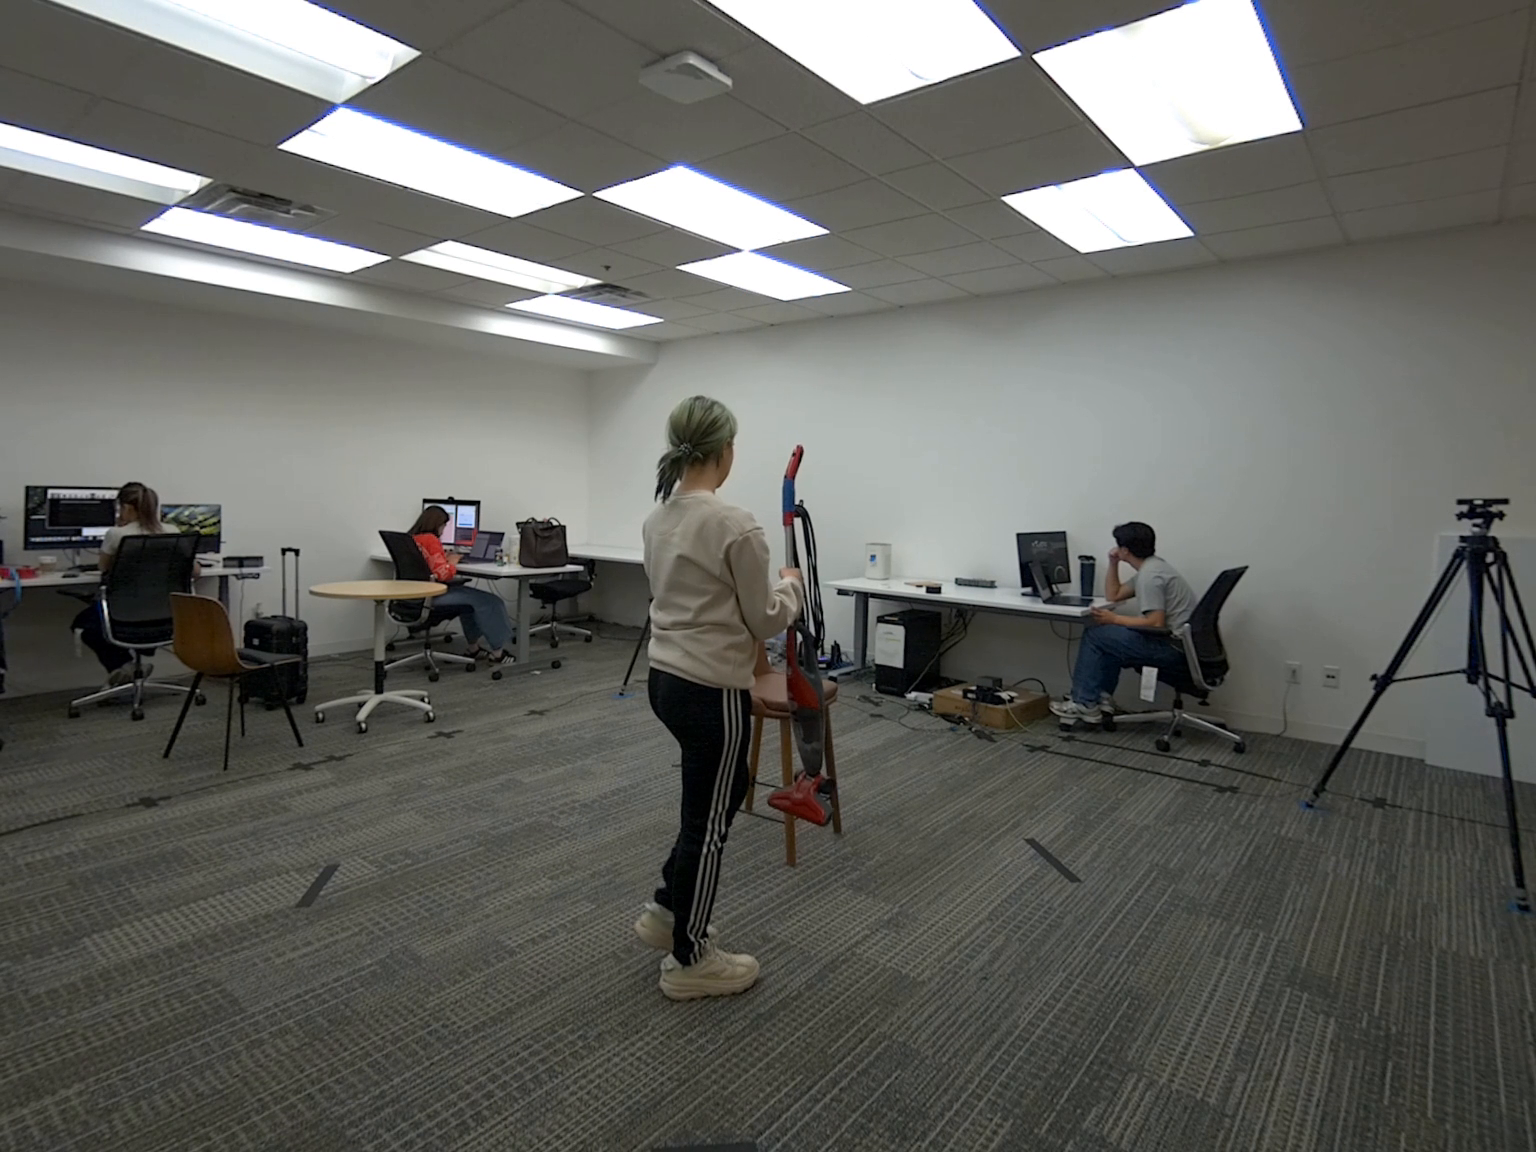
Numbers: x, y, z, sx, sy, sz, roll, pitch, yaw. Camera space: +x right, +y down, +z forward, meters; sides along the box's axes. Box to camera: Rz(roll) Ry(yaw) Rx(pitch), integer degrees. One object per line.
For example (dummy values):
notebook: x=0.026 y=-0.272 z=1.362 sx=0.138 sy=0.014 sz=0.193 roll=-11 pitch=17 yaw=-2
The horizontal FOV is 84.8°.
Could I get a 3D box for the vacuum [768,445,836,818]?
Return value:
vacuum: x=0.104 y=0.138 z=2.563 sx=0.139 sy=1.049 sz=0.260 roll=0 pitch=0 yaw=-40
